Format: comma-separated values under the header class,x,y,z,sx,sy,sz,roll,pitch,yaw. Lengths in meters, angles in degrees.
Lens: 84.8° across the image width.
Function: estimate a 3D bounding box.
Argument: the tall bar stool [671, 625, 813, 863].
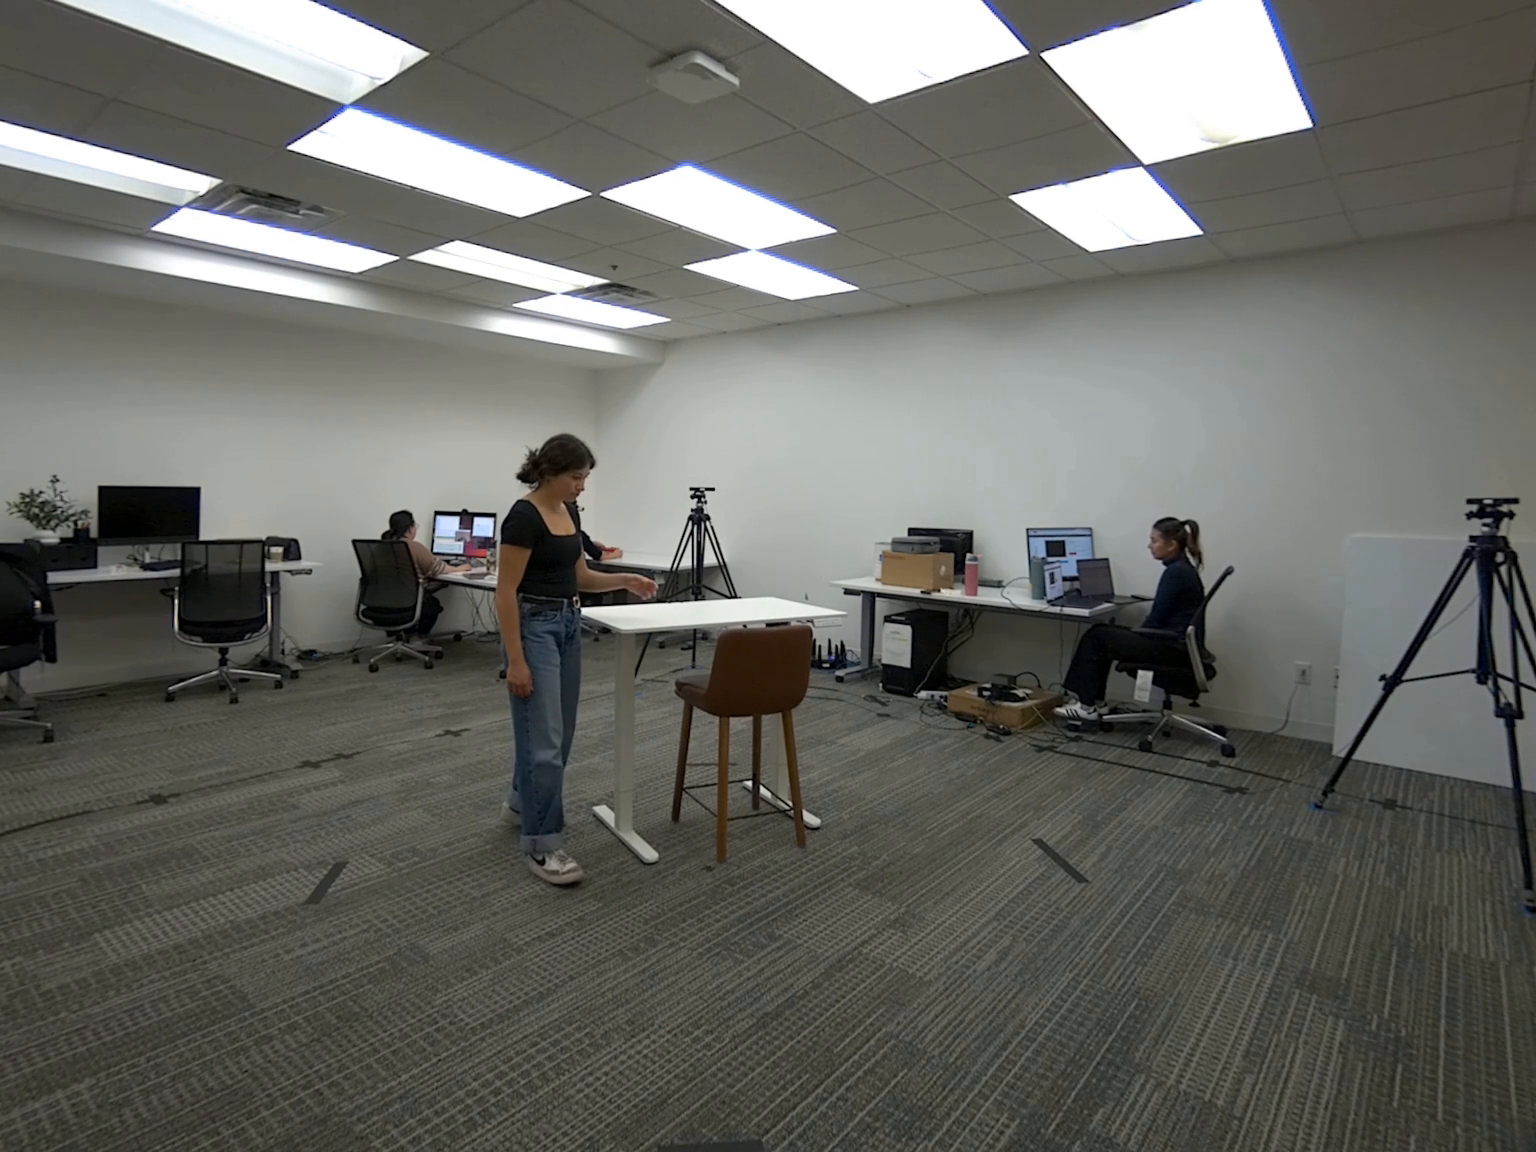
class,x,y,z,sx,sy,sz,roll,pitch,yaw
tall bar stool,-0.122,0.613,3.411,0.445,0.886,0.481,0,5,-27
